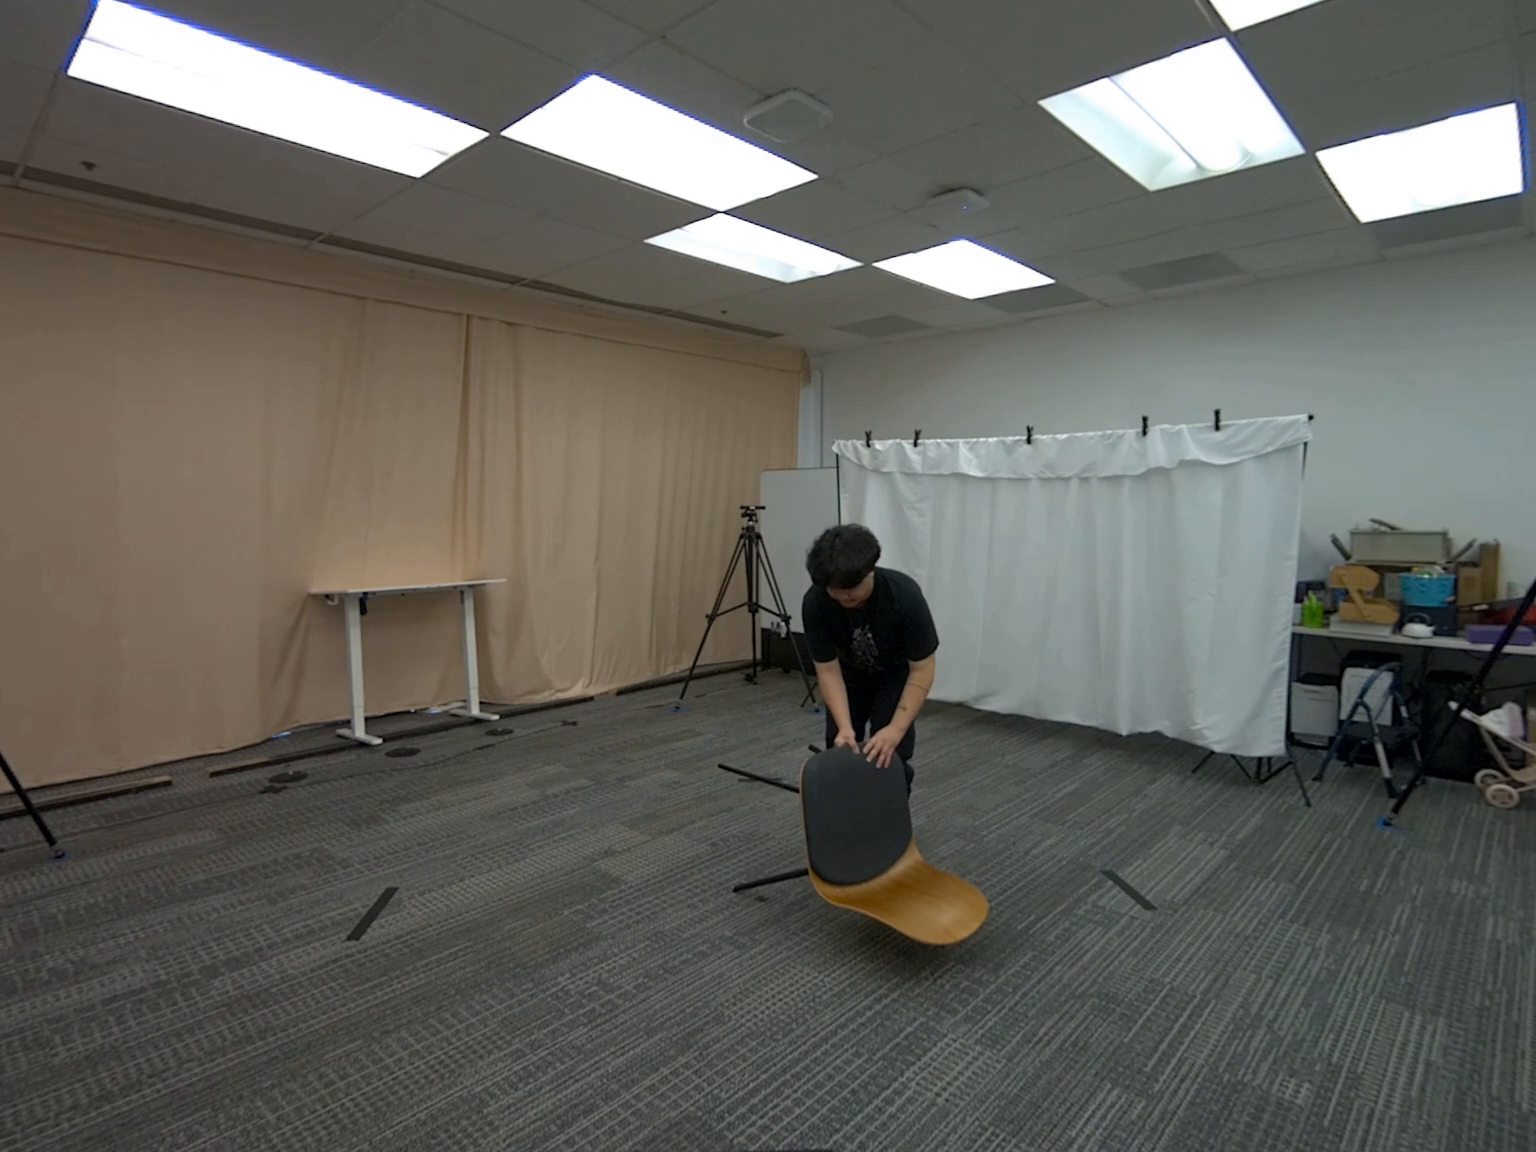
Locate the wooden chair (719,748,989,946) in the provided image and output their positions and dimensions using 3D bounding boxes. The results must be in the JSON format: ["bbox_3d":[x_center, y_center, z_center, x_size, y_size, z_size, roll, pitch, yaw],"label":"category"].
[{"bbox_3d":[0.280,0.843,2.839,0.464,0.524,0.902,-2,-2,-36],"label":"wooden chair"}]
